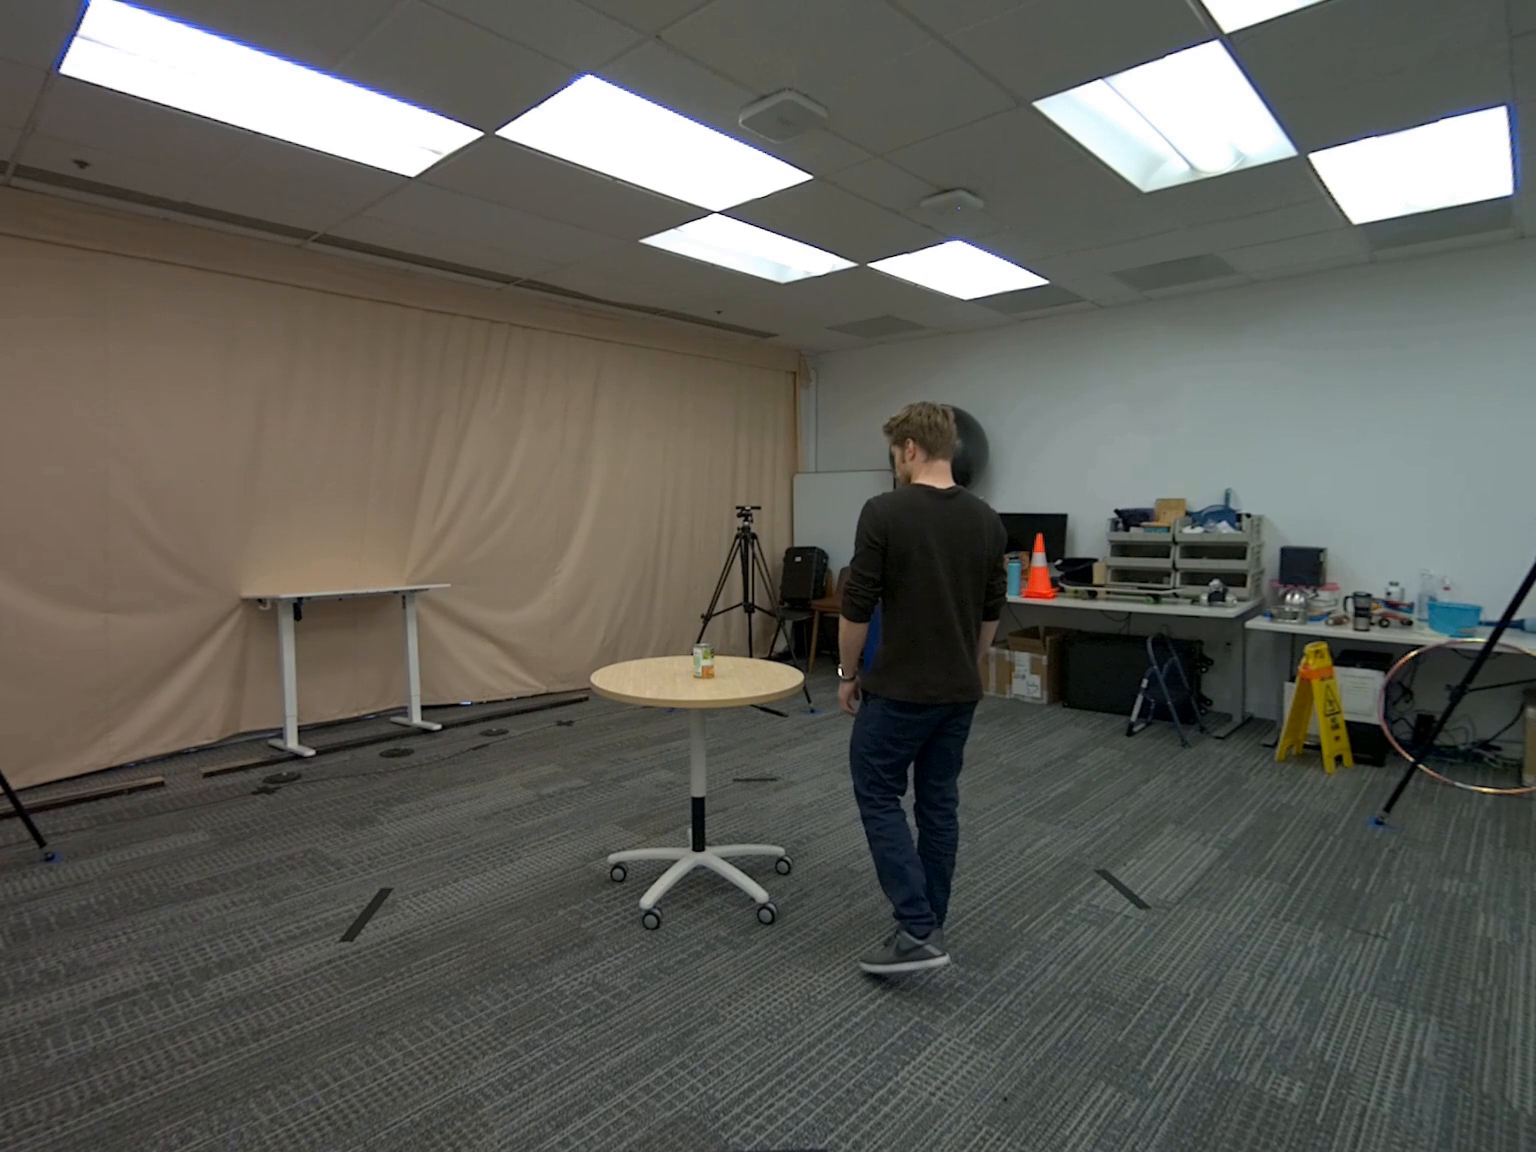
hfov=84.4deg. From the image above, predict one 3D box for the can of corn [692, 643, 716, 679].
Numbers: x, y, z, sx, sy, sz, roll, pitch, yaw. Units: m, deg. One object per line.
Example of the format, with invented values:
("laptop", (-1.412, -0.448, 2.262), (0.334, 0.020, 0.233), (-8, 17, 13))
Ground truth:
("can of corn", (-0.229, 0.303, 3.004), (0.074, 0.111, 0.074), (1, 2, -2))
